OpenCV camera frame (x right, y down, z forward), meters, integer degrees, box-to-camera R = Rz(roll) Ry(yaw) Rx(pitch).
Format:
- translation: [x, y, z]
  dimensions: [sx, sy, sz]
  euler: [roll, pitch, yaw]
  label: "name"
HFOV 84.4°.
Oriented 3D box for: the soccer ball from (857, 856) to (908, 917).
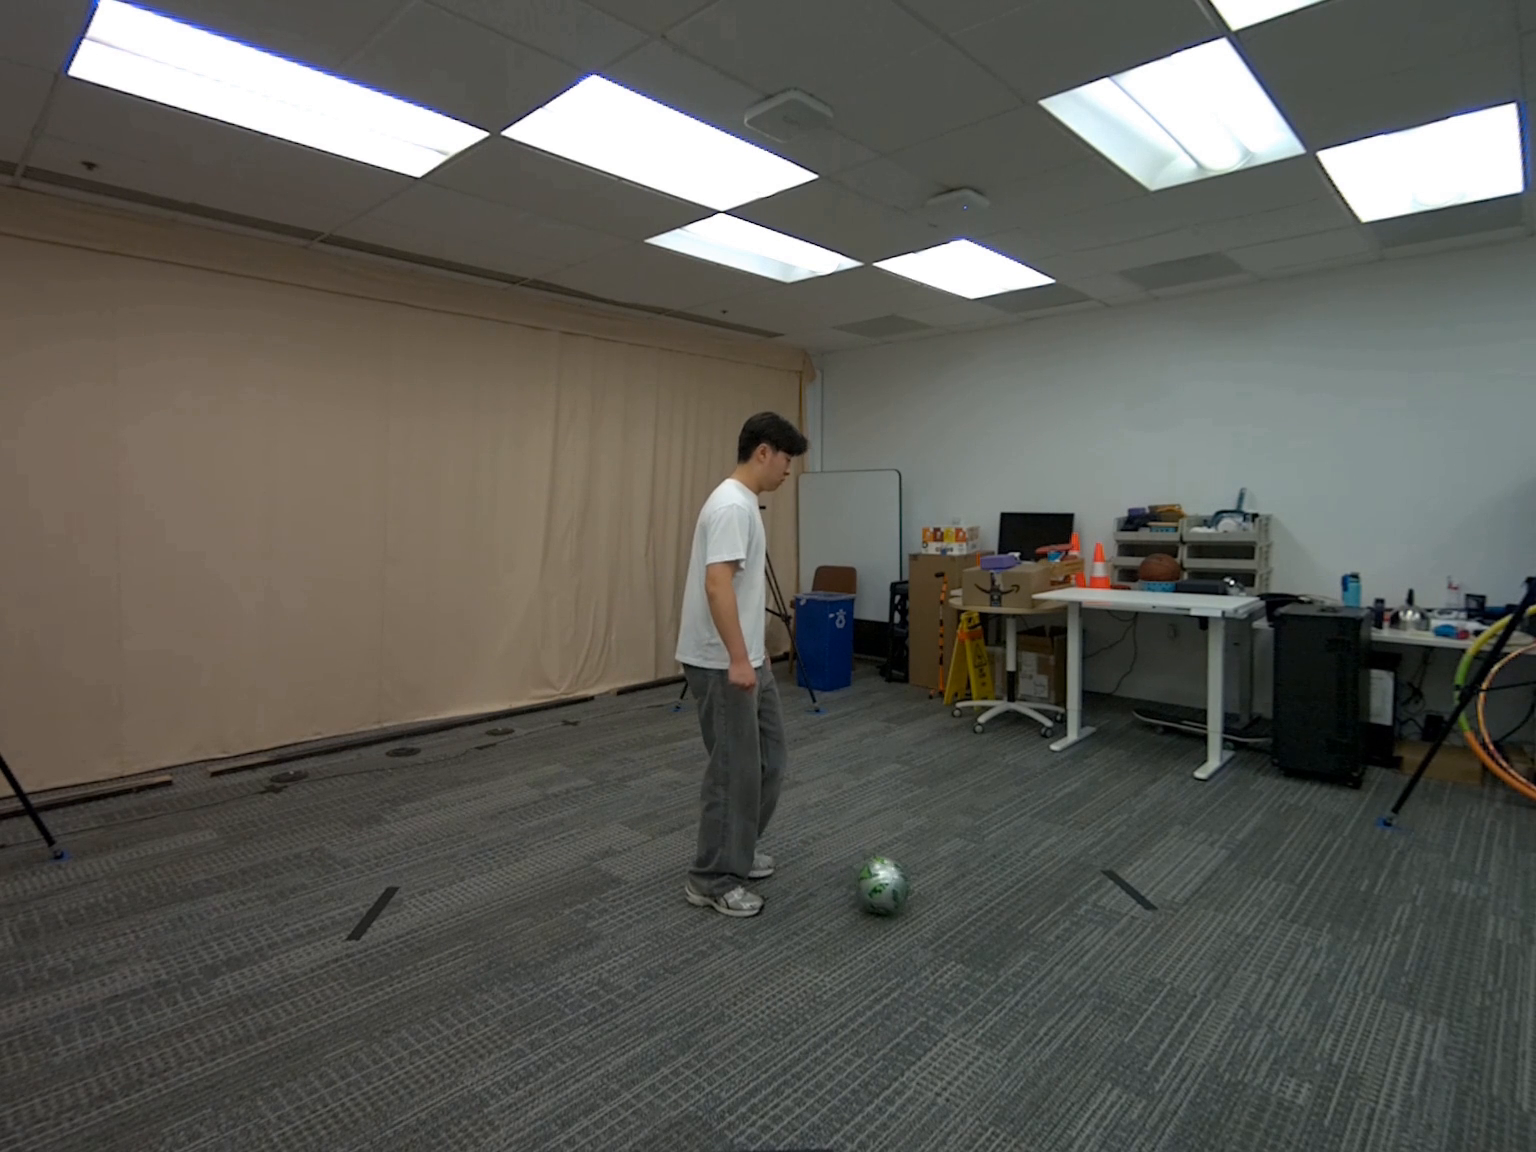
- translation: [0.398, 1.061, 2.879]
  dimensions: [0.187, 0.187, 0.188]
  euler: [0, 4, -2]
  label: "soccer ball"
